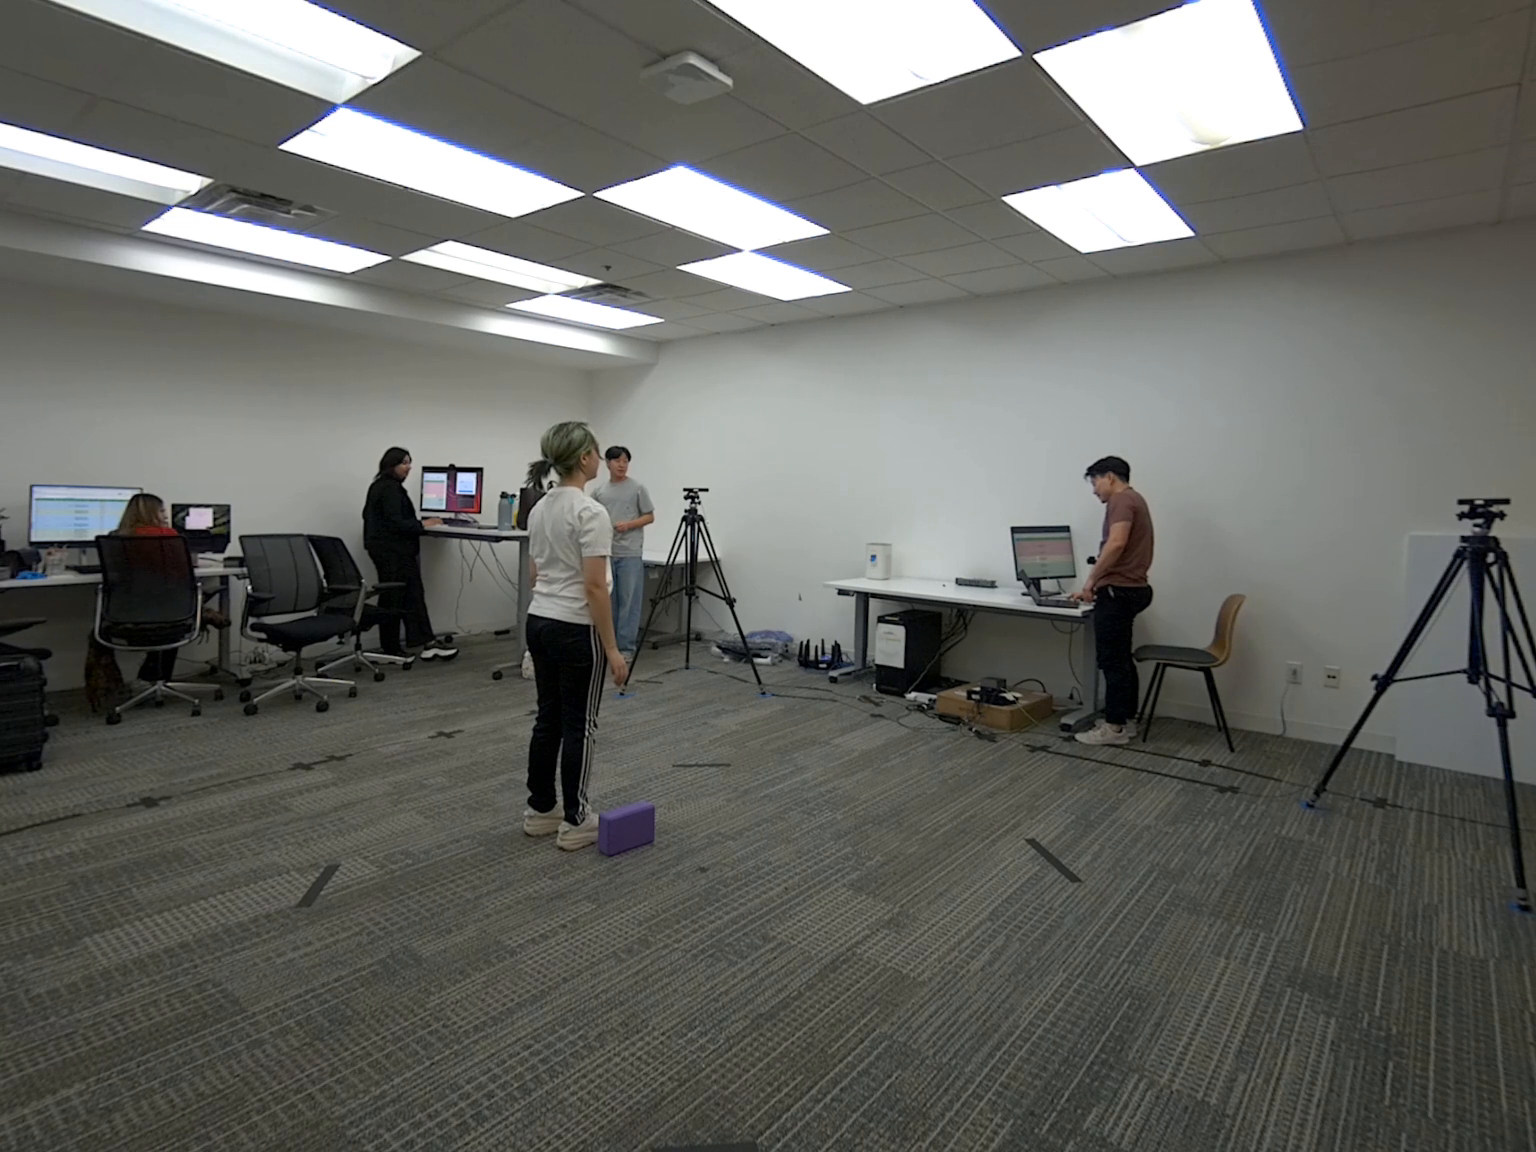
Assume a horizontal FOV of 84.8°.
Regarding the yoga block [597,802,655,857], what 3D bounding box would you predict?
[{"bbox_3d":[-0.558,0.969,3.290,0.222,0.148,0.079,-4,6,-43],"label":"yoga block"}]
